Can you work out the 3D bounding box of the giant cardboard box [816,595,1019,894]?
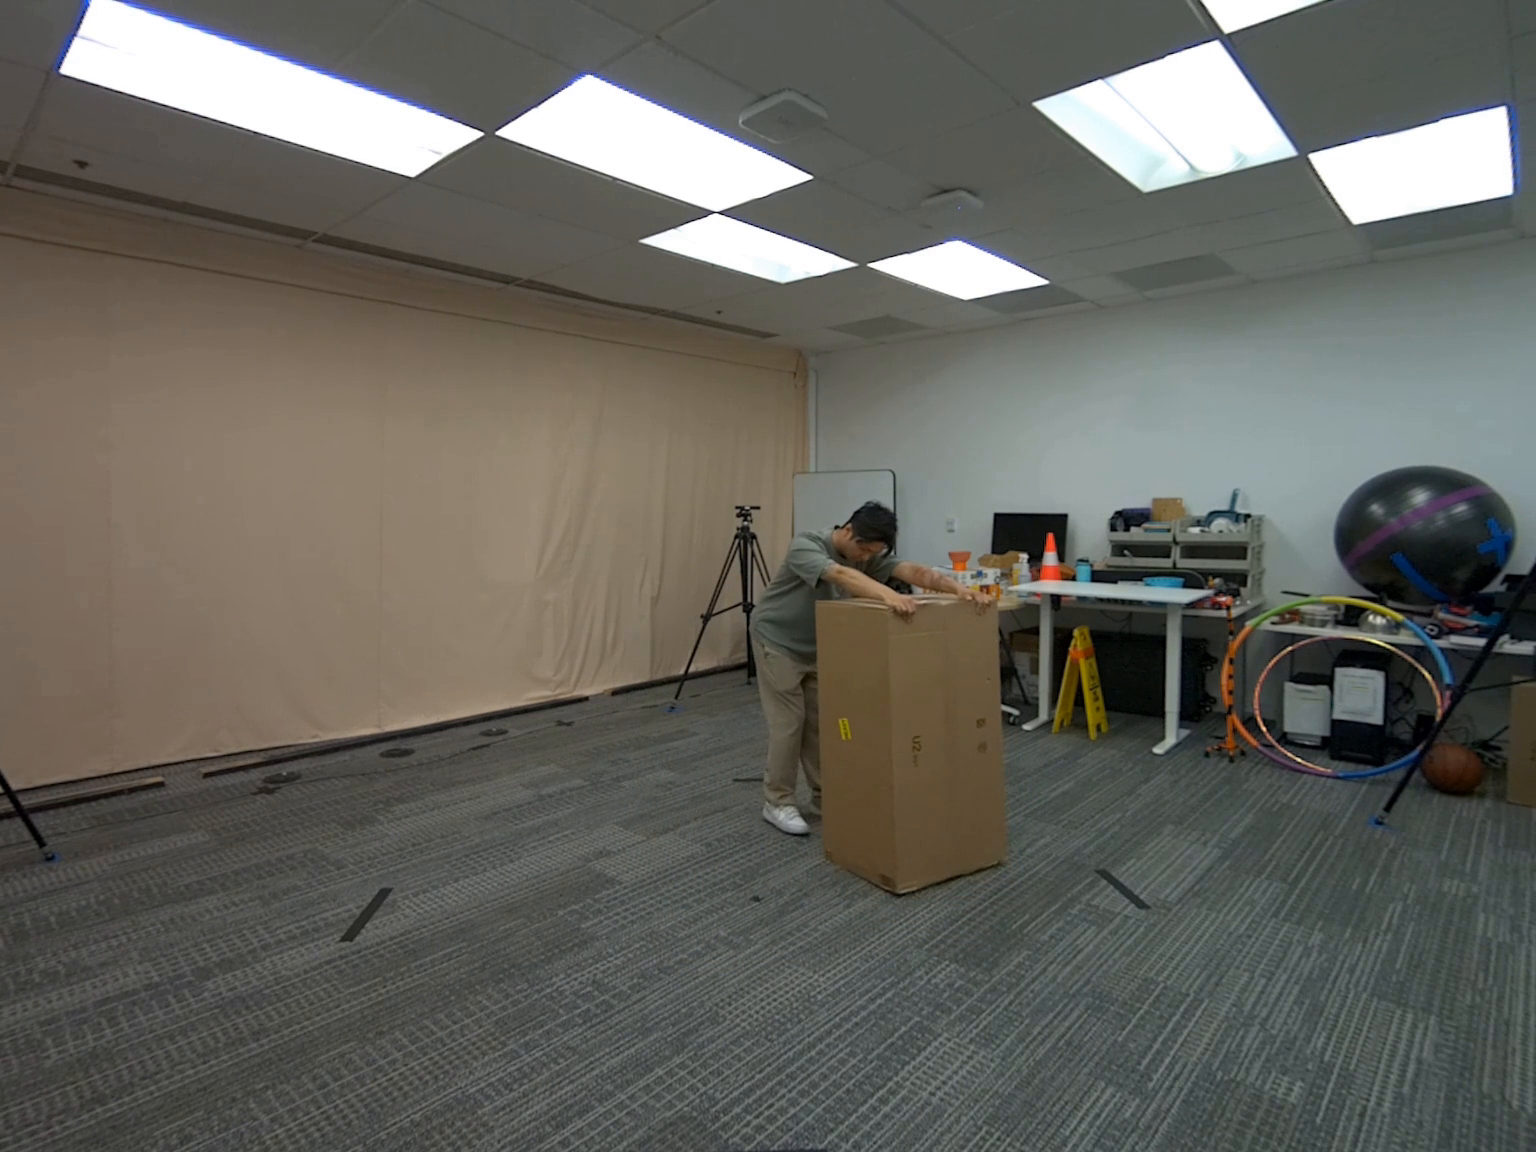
[{"bbox_3d":[0.561,0.601,3.301,0.561,1.025,0.439,-3,1,-33],"label":"giant cardboard box"}]
